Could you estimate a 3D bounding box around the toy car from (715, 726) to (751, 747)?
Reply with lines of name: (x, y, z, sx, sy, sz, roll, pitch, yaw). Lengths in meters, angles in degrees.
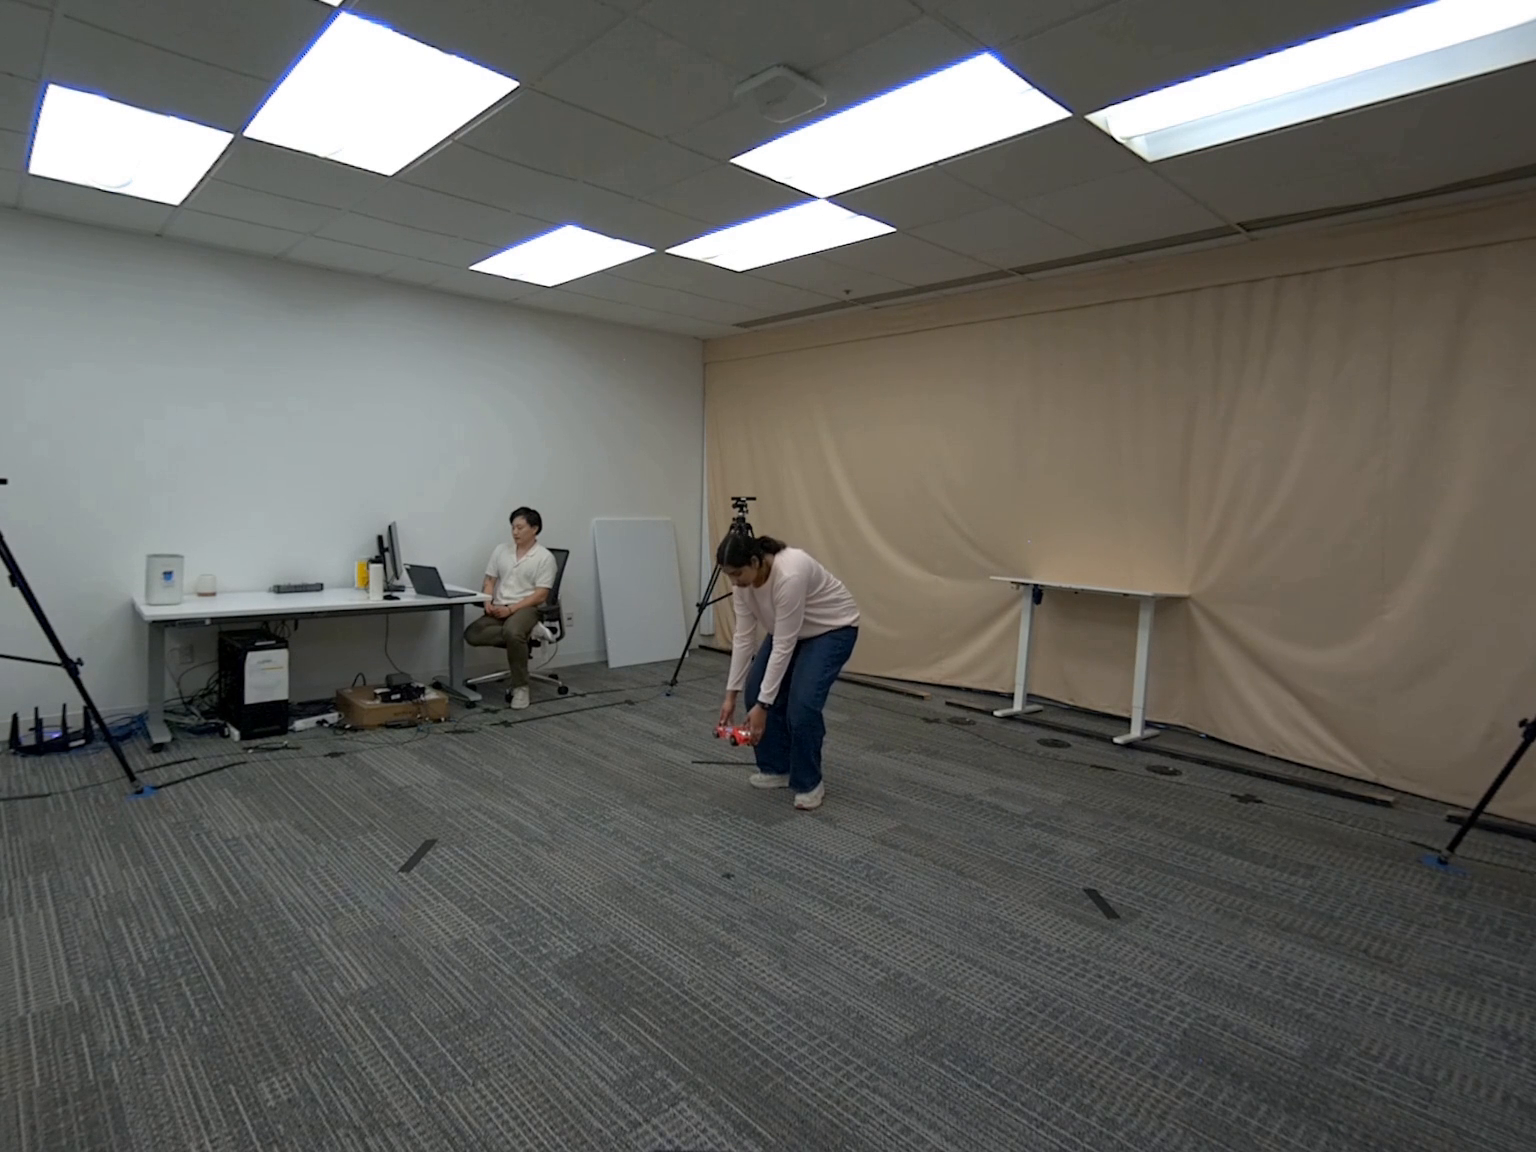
toy car: (-0.149, 0.711, 3.766, 0.127, 0.084, 0.259, 8, -11, -32)
